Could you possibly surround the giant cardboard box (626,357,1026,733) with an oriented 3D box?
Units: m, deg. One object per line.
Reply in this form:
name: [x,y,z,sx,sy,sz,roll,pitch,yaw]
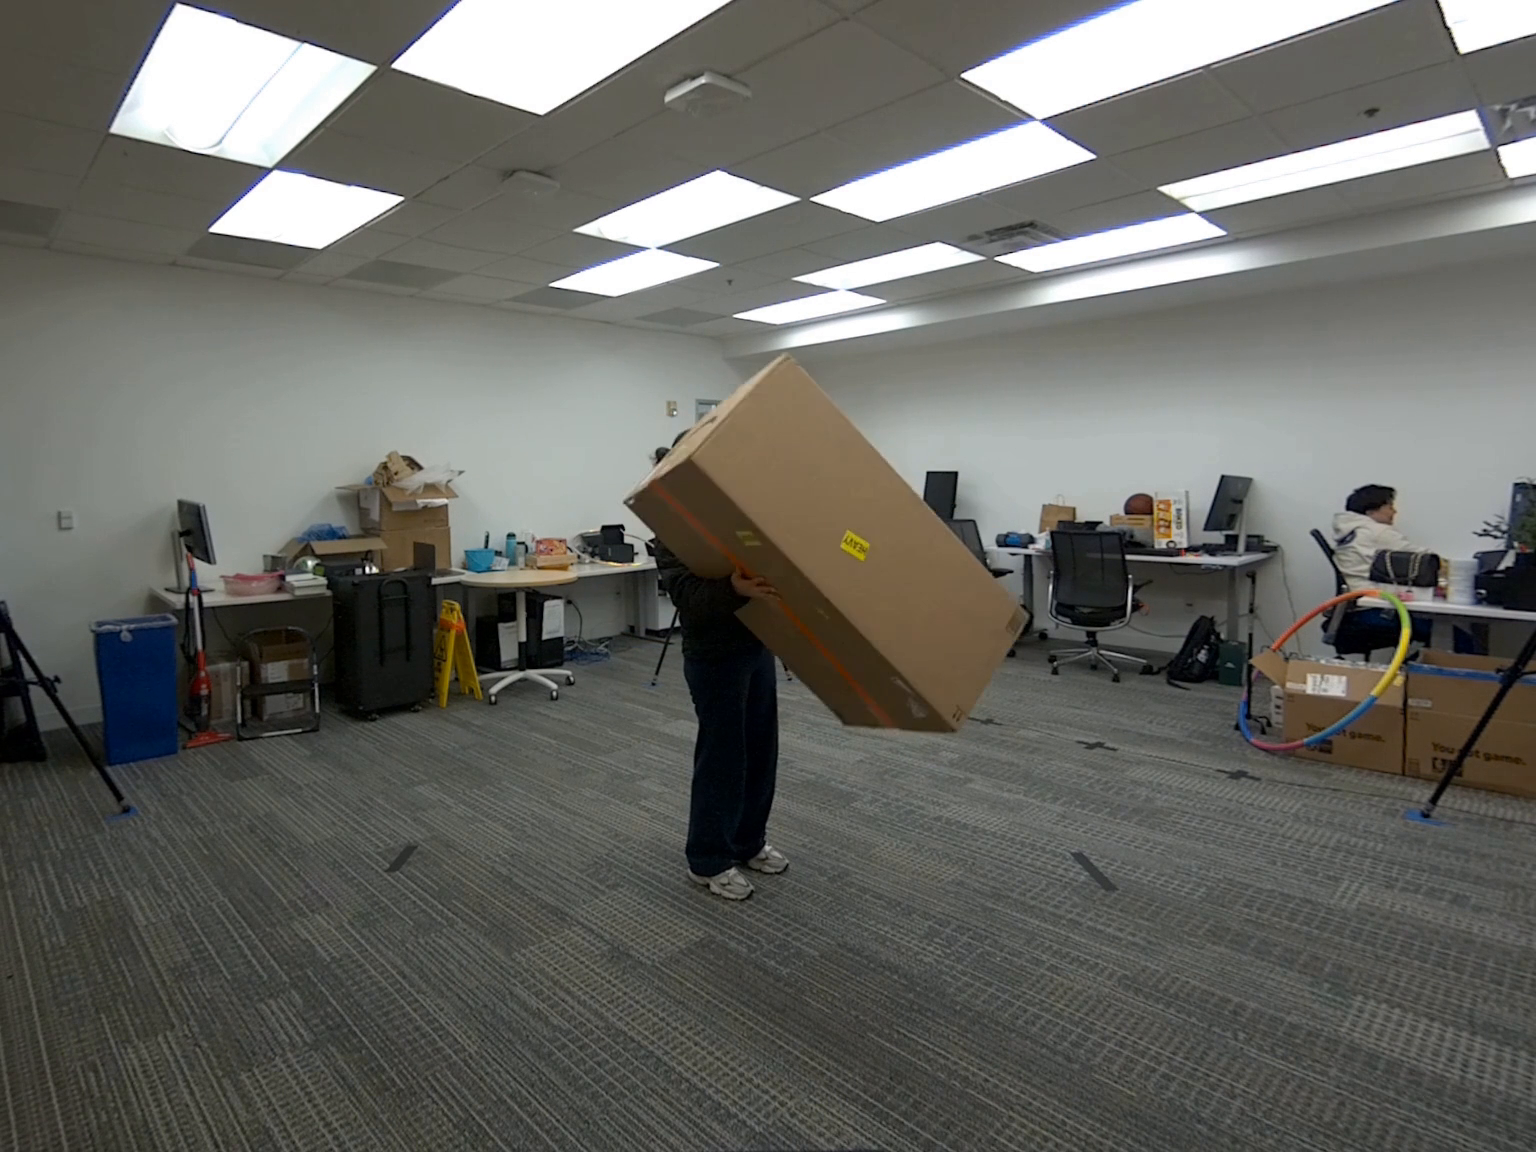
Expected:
giant cardboard box: [0.148,-0.040,2.522,0.426,1.012,0.585,-49,12,-23]
